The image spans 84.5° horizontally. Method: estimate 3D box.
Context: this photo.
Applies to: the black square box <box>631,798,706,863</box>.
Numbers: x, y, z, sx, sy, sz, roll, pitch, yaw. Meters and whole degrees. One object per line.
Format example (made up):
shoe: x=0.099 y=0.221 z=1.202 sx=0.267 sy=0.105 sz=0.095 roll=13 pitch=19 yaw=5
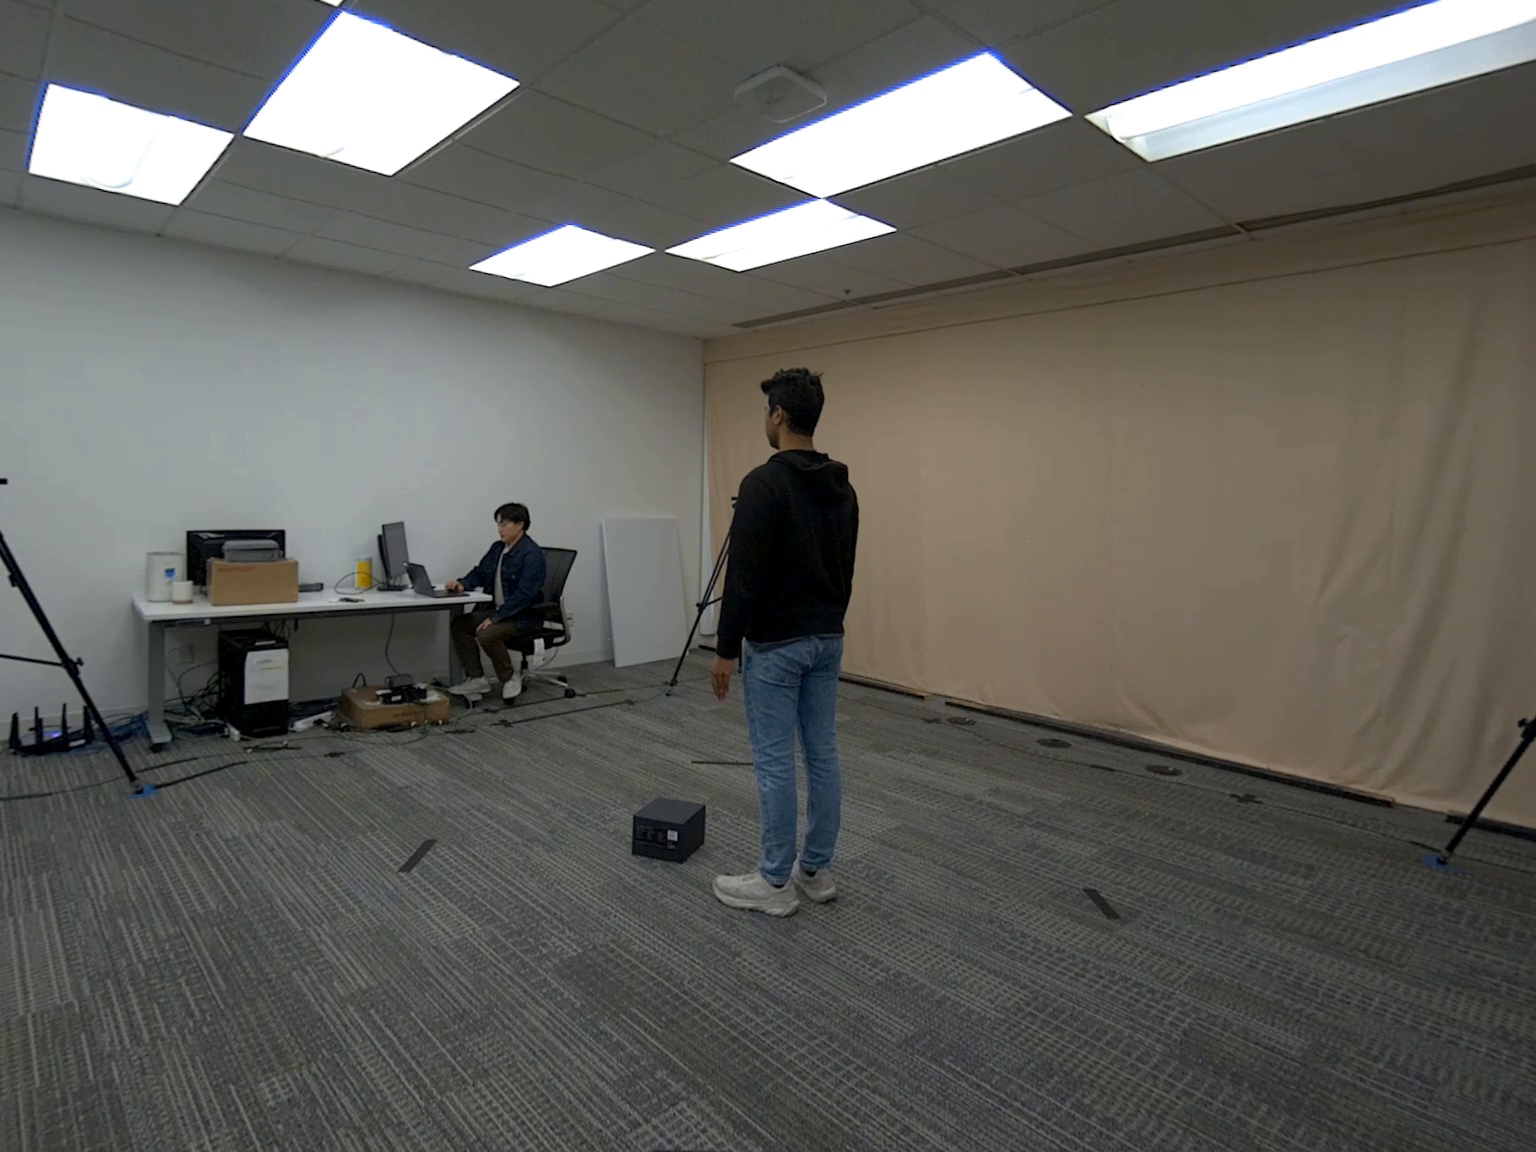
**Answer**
black square box: x=-0.398 y=0.994 z=3.329 sx=0.220 sy=0.155 sz=0.225 roll=3 pitch=4 yaw=20
